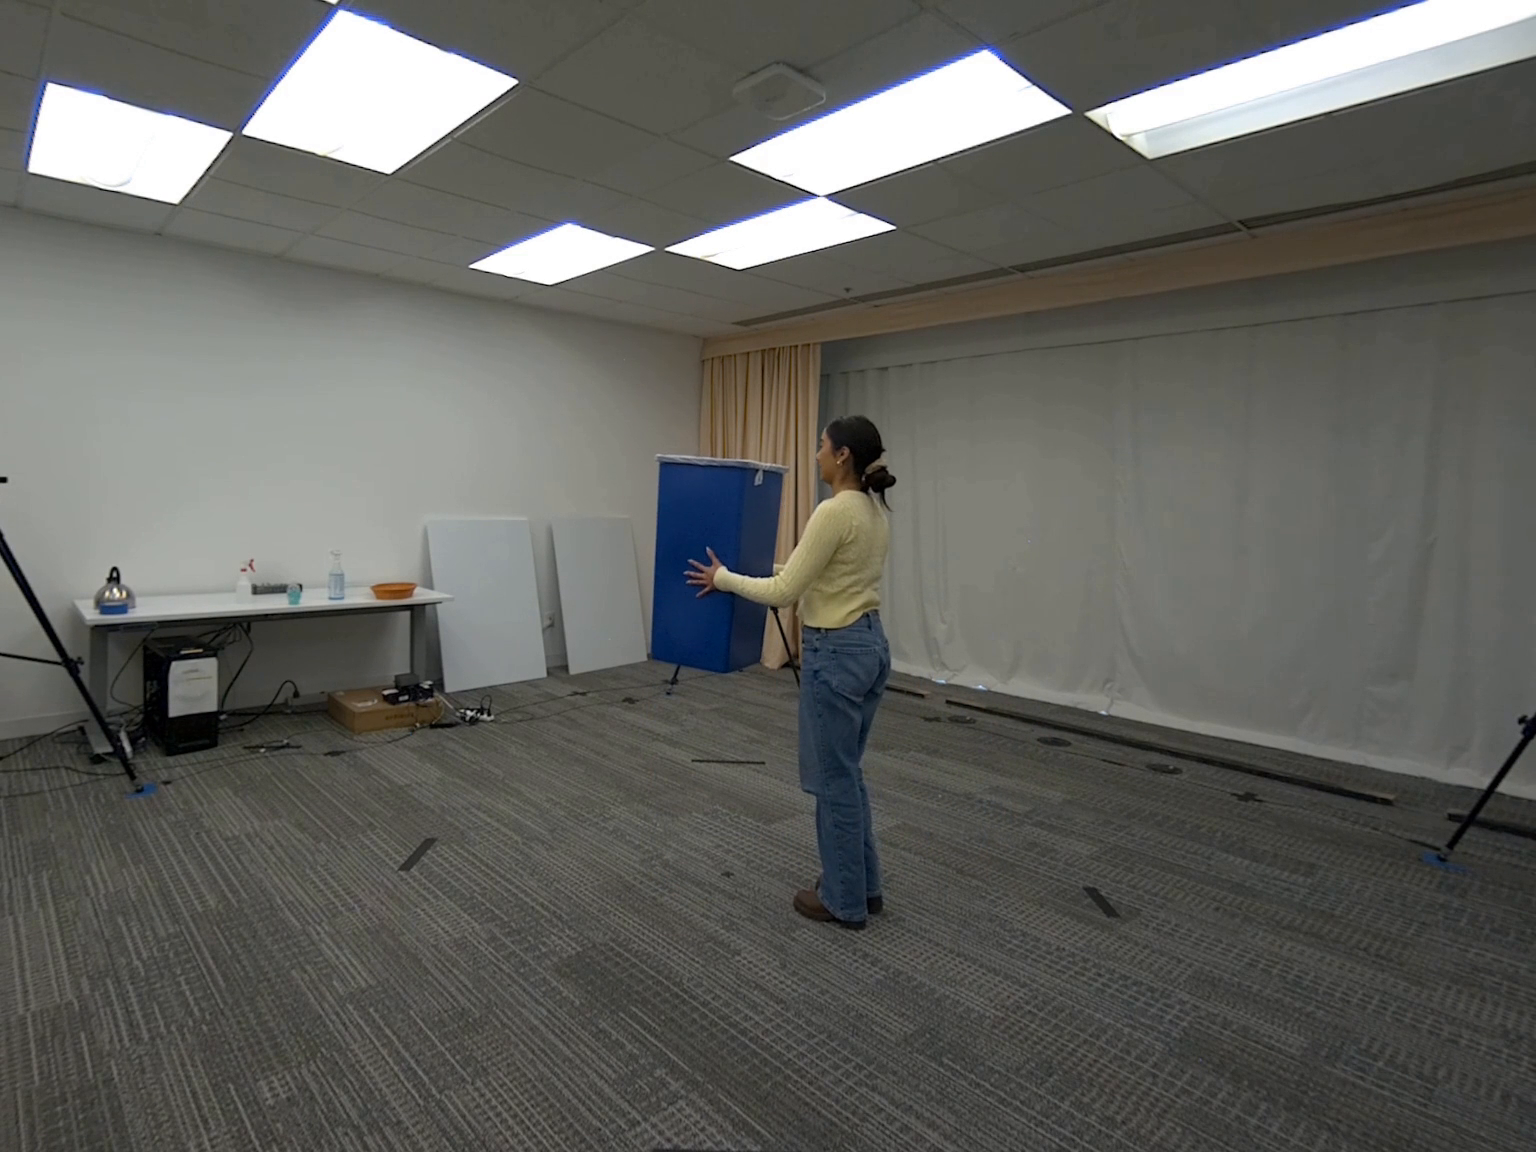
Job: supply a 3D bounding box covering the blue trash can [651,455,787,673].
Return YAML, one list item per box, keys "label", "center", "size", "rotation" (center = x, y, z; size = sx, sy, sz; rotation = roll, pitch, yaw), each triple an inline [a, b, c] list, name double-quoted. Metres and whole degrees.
- label: "blue trash can"
  center: [-0.196, -0.053, 2.982]
  size: [0.381, 0.712, 0.371]
  rotation: [8, 4, 24]
